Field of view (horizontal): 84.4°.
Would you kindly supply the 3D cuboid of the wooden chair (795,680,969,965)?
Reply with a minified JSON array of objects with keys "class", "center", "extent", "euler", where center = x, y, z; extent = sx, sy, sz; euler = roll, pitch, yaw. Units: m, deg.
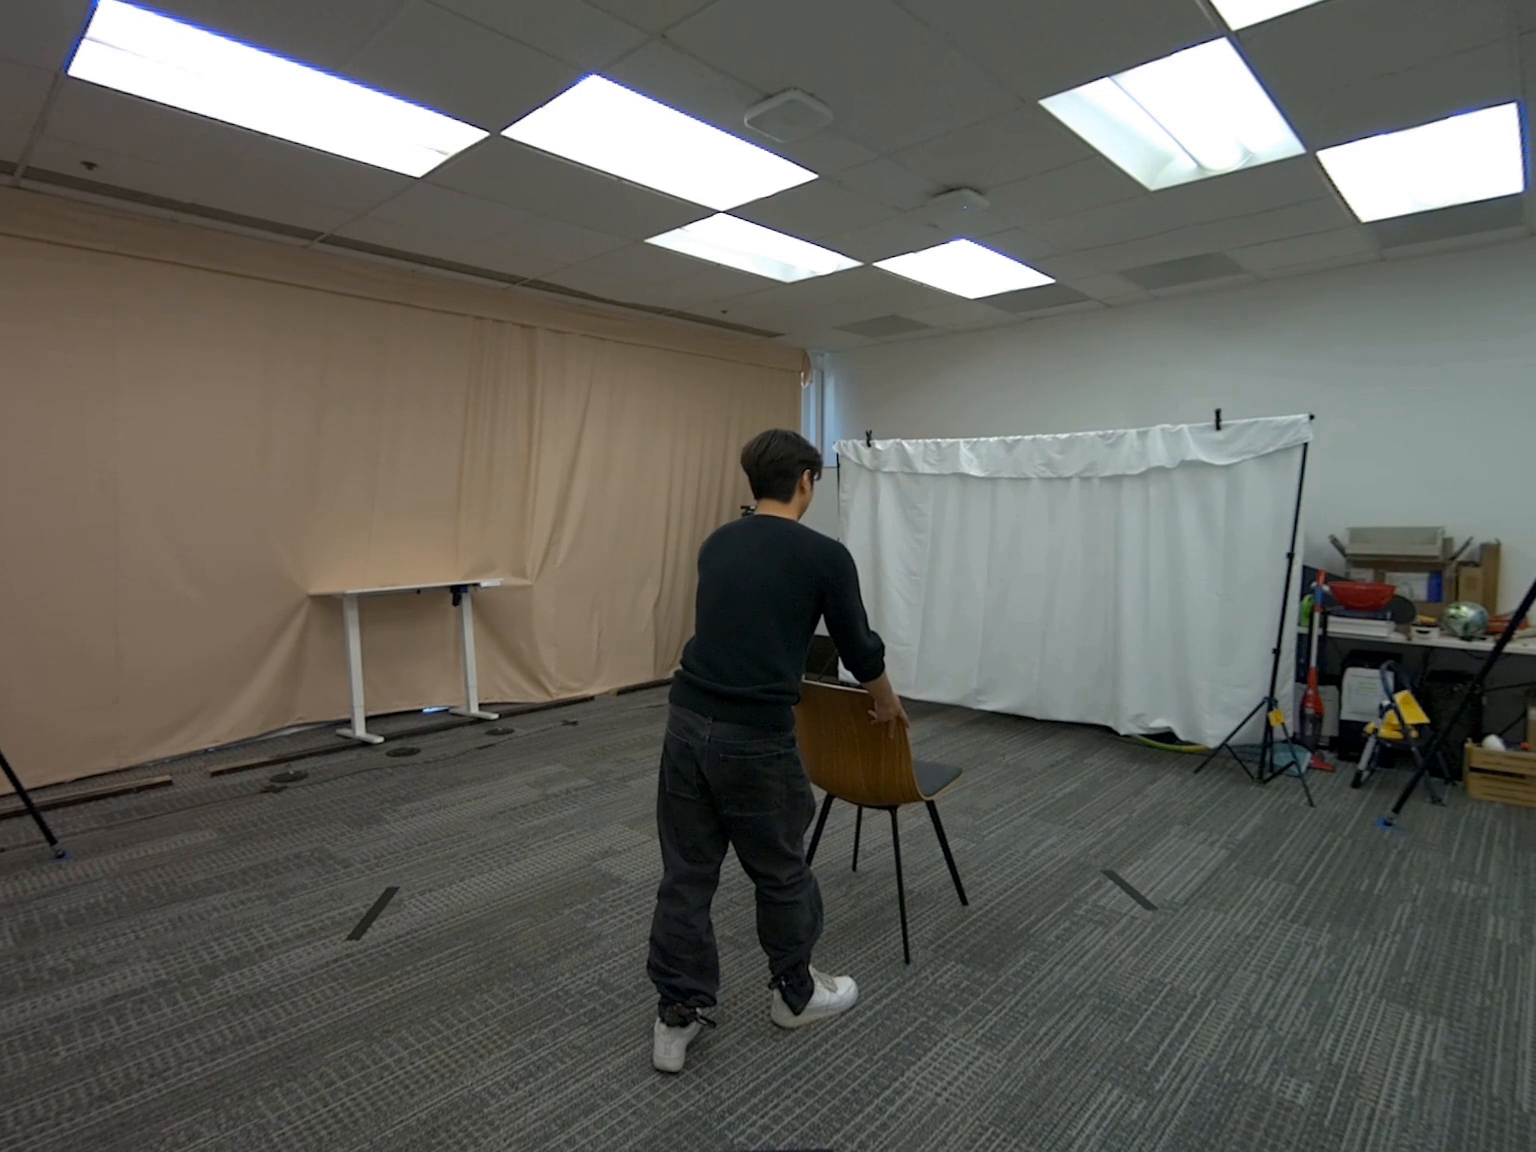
[{"class":"wooden chair","center":[0.372,0.718,2.829],"extent":[0.493,0.872,0.509],"euler":[2,10,38]}]
